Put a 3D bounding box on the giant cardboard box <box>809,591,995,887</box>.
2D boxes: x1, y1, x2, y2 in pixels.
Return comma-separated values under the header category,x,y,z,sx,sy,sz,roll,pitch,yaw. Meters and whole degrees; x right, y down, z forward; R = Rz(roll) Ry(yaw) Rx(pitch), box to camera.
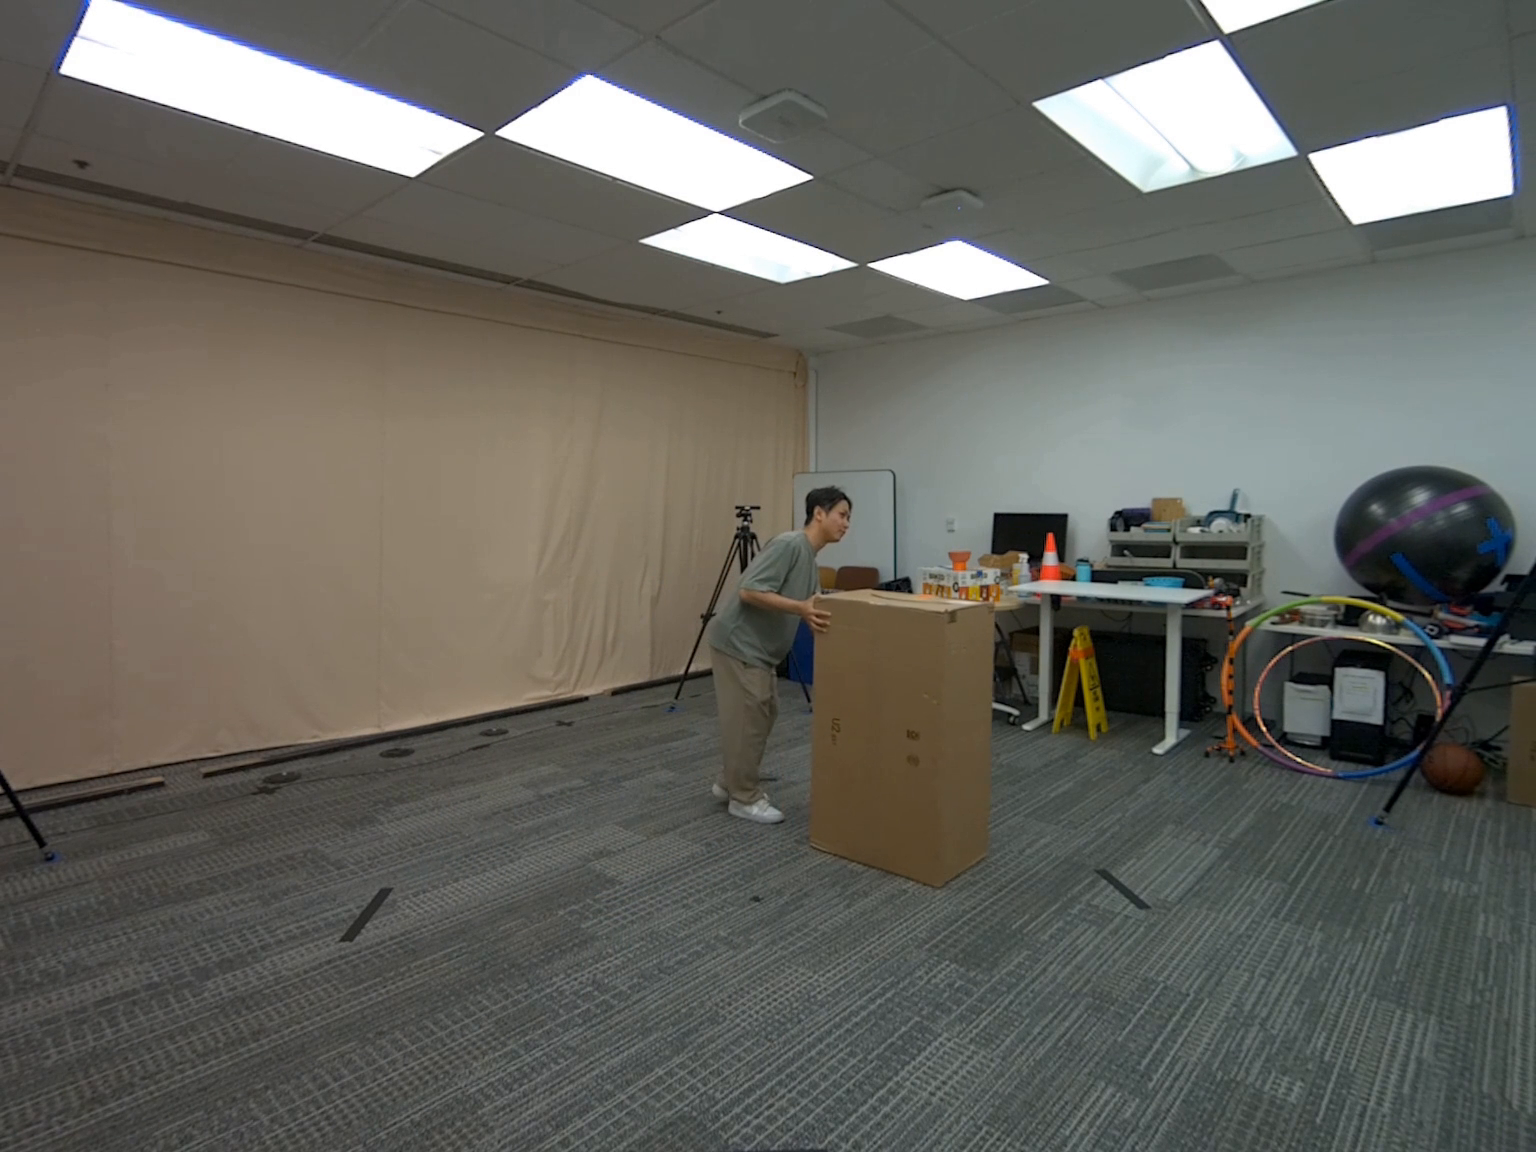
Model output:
category,x,y,z,sx,sy,sz,roll,pitch,yaw
giant cardboard box,0.539,0.606,3.375,0.597,1.024,0.413,3,4,40
